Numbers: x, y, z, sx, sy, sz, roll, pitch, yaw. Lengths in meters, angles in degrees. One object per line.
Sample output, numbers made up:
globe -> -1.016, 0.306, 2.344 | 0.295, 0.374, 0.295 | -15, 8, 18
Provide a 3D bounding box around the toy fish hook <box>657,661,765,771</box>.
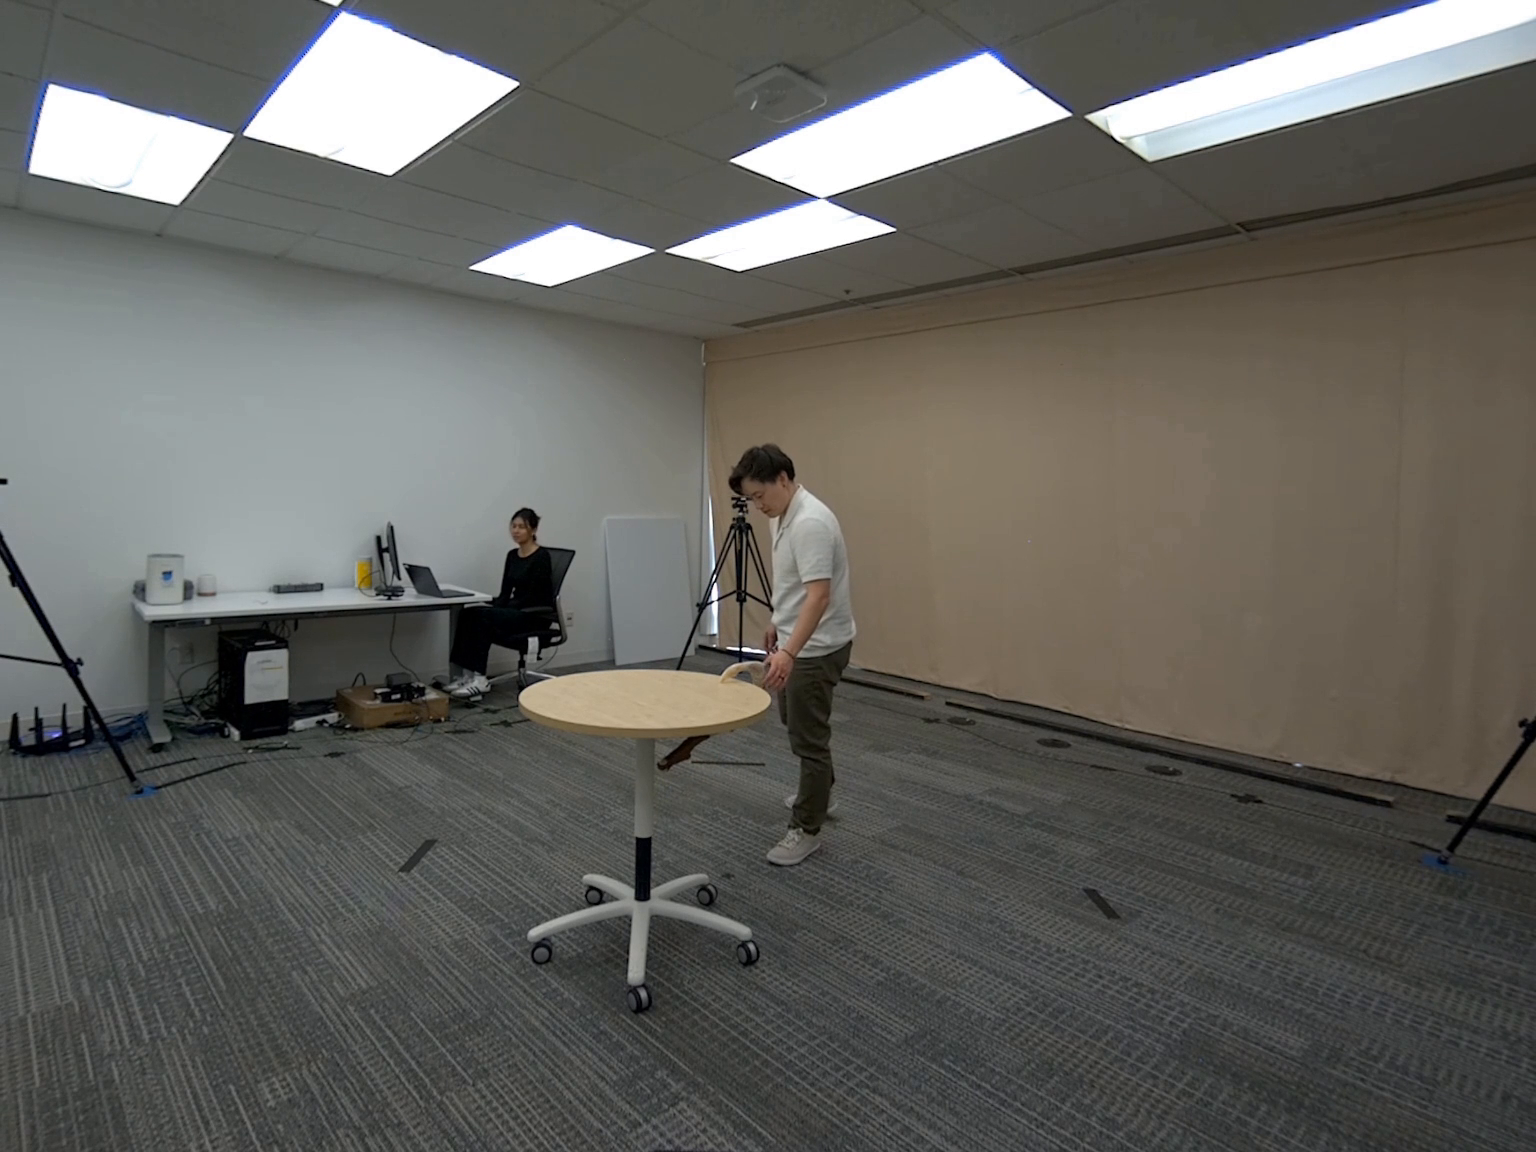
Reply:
toy fish hook -> -0.187, 0.454, 2.783 | 0.502, 0.220, 0.049 | -32, 26, -34
